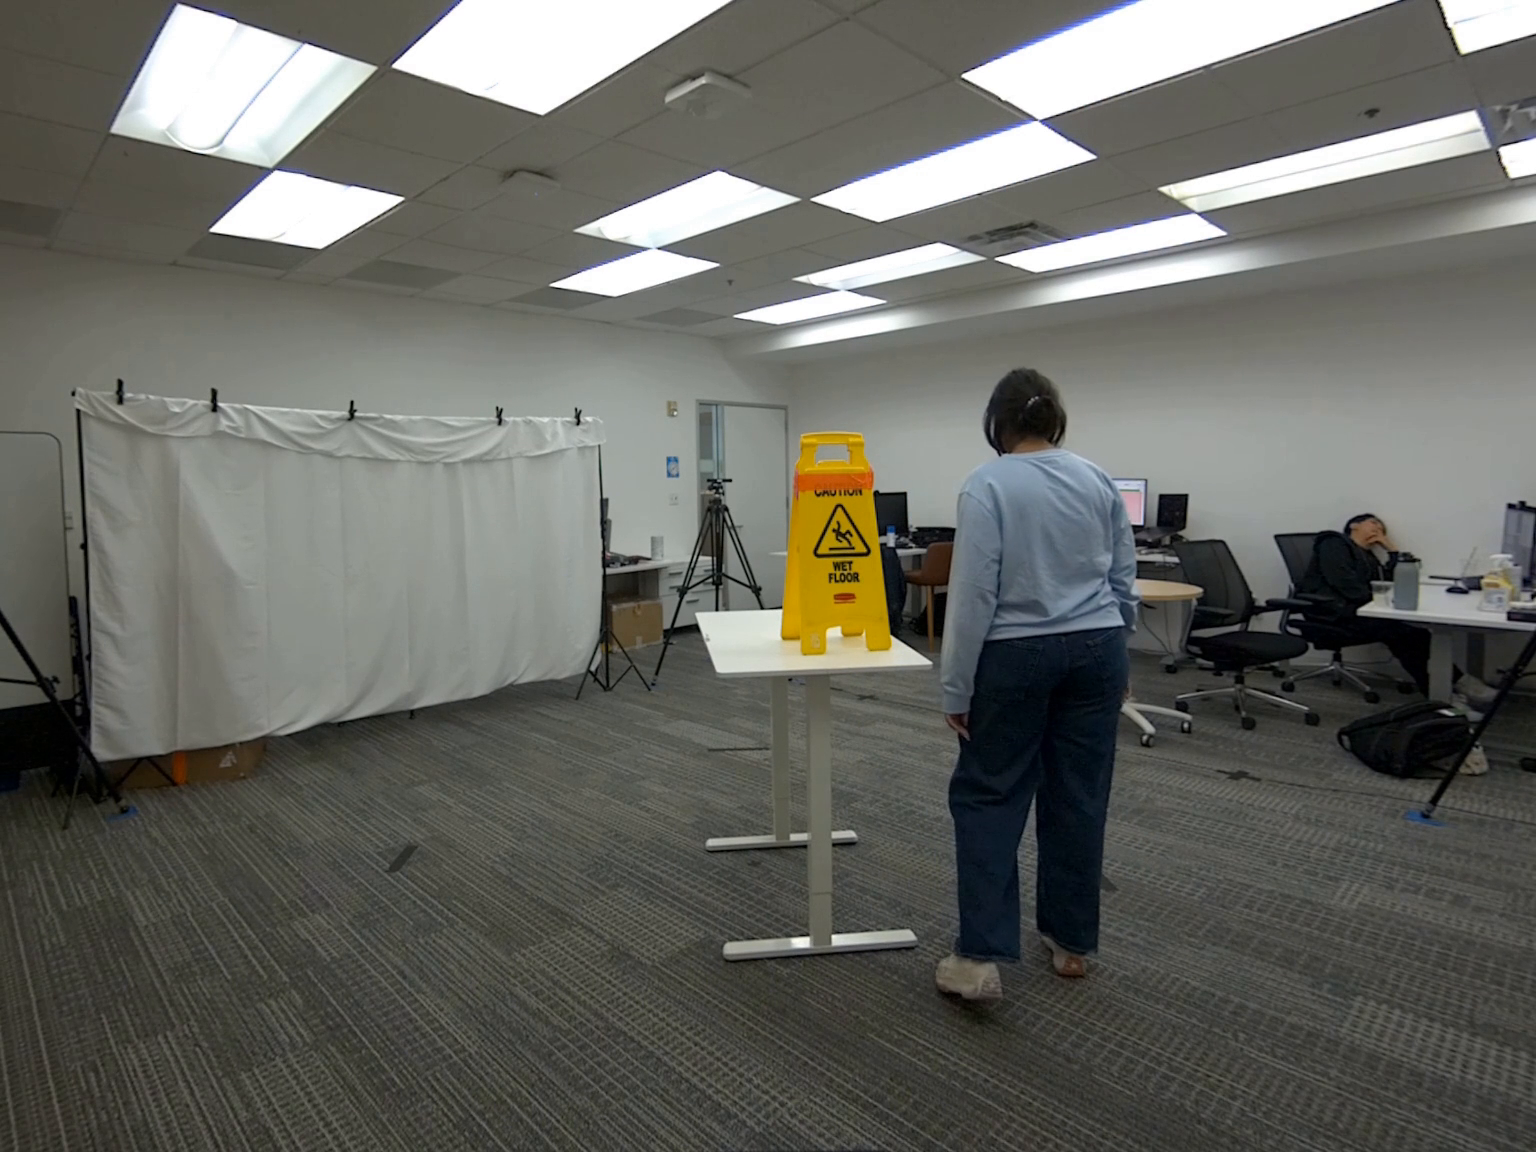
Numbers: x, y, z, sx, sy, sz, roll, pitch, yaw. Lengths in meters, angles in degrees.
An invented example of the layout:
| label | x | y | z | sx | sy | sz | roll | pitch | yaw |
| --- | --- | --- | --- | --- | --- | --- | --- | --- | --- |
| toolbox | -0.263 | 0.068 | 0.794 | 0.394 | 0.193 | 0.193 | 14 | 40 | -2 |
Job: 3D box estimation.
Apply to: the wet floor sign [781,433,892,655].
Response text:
| label | x | y | z | sx | sy | sz | roll | pitch | yaw |
| --- | --- | --- | --- | --- | --- | --- | --- | --- | --- |
| wet floor sign | 0.200 | -0.110 | 2.620 | 0.279 | 0.644 | 0.294 | -2 | 3 | -12 |
